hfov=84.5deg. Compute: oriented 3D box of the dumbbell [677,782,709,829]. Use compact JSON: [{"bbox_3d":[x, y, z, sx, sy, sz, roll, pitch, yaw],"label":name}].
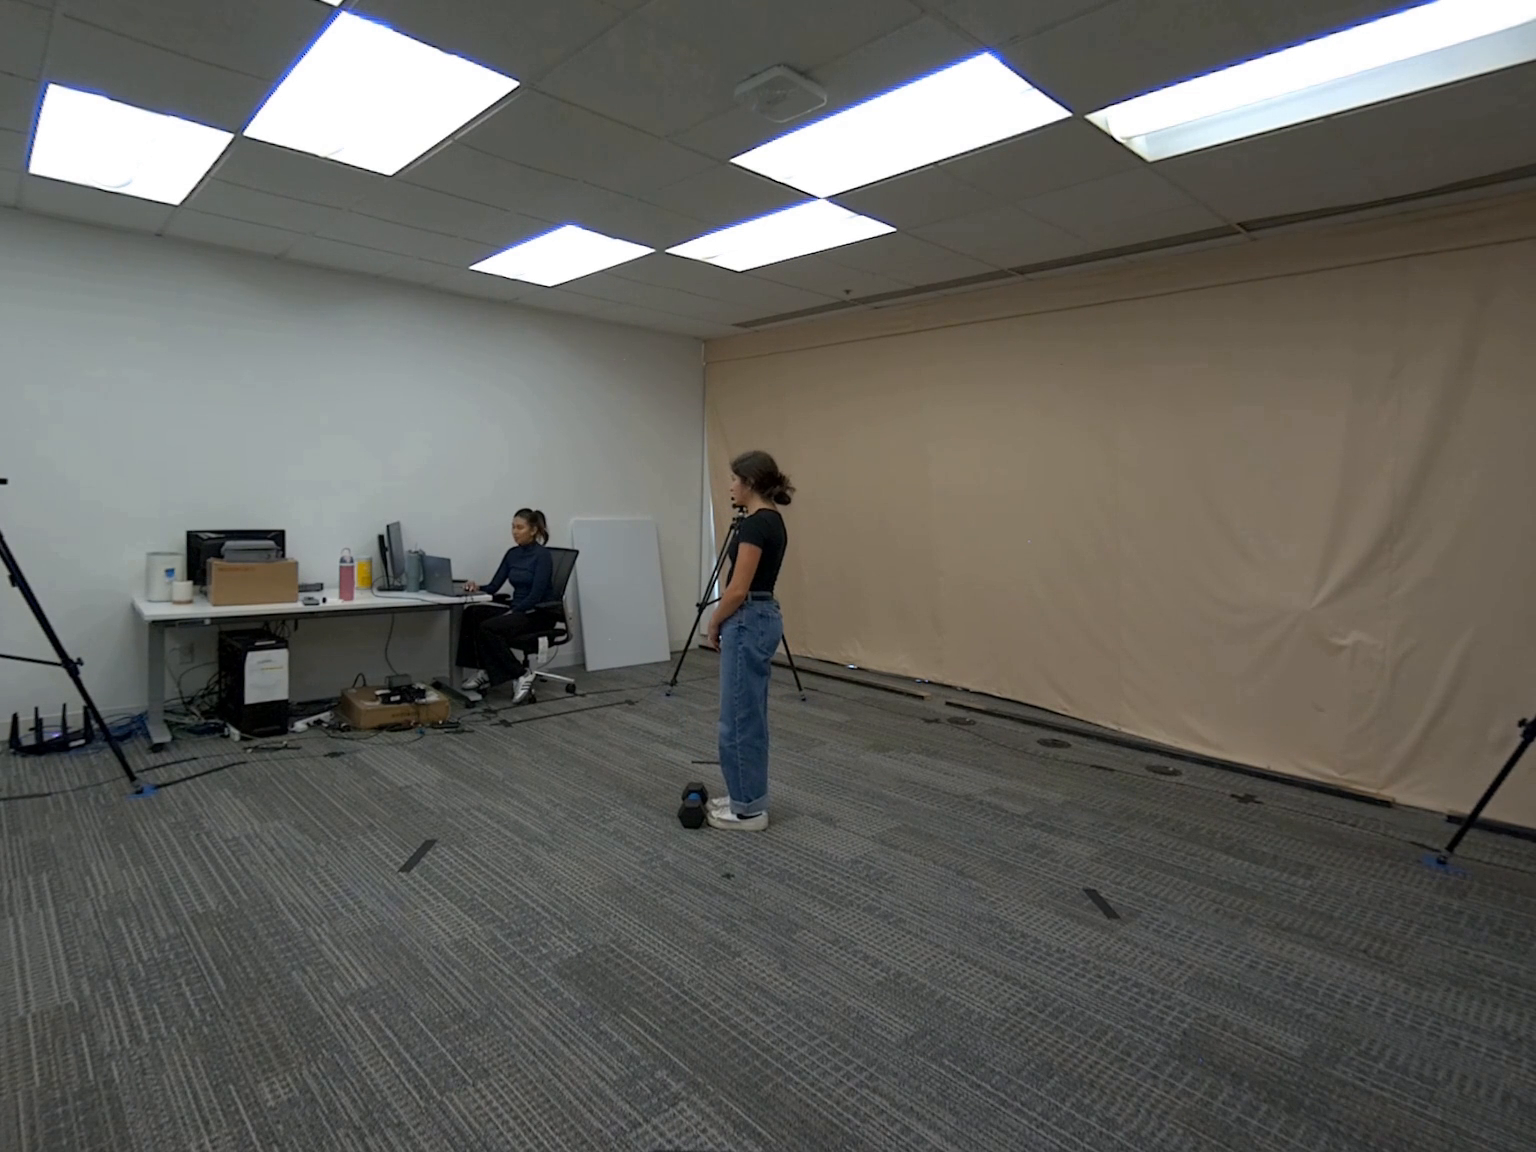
[{"bbox_3d":[-0.329,0.993,3.675,0.108,0.123,0.294,31,3,-3],"label":"dumbbell"}]
